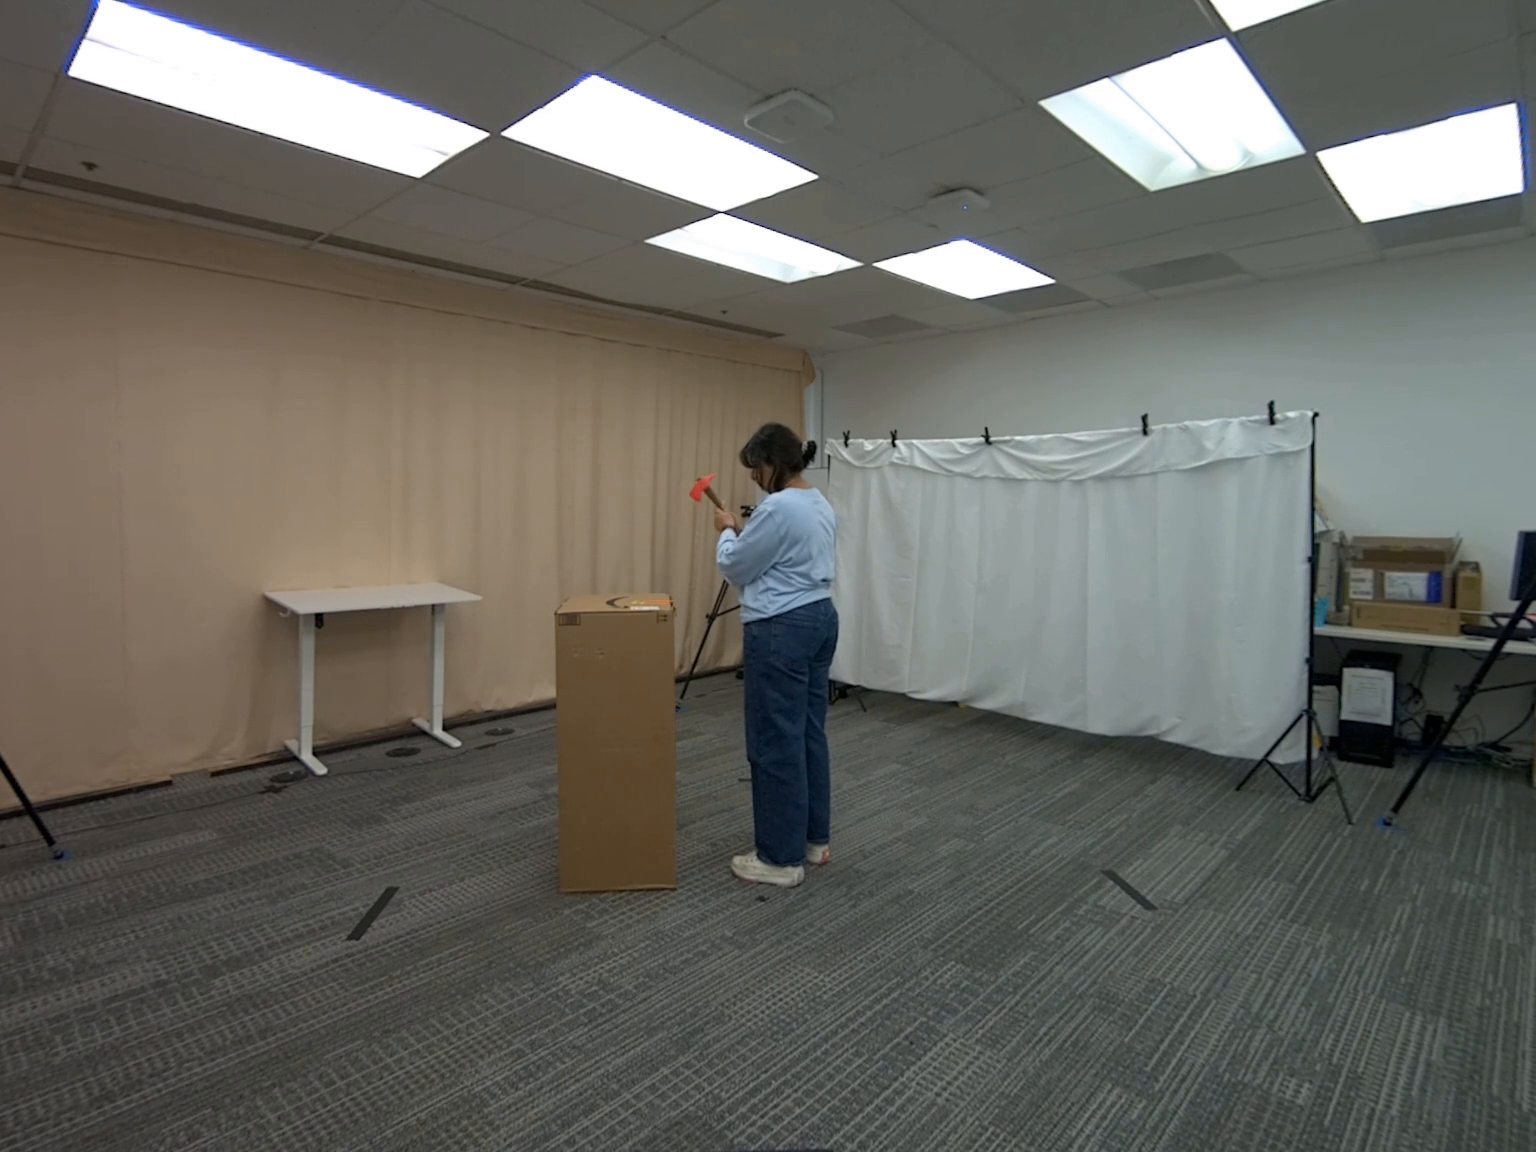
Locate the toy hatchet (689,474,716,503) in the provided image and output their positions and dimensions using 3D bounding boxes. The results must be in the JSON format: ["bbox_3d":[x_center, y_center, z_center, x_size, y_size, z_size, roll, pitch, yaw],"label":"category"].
[{"bbox_3d":[-0.222,-0.268,3.402,0.132,0.271,0.029,-18,-4,7],"label":"toy hatchet"}]
